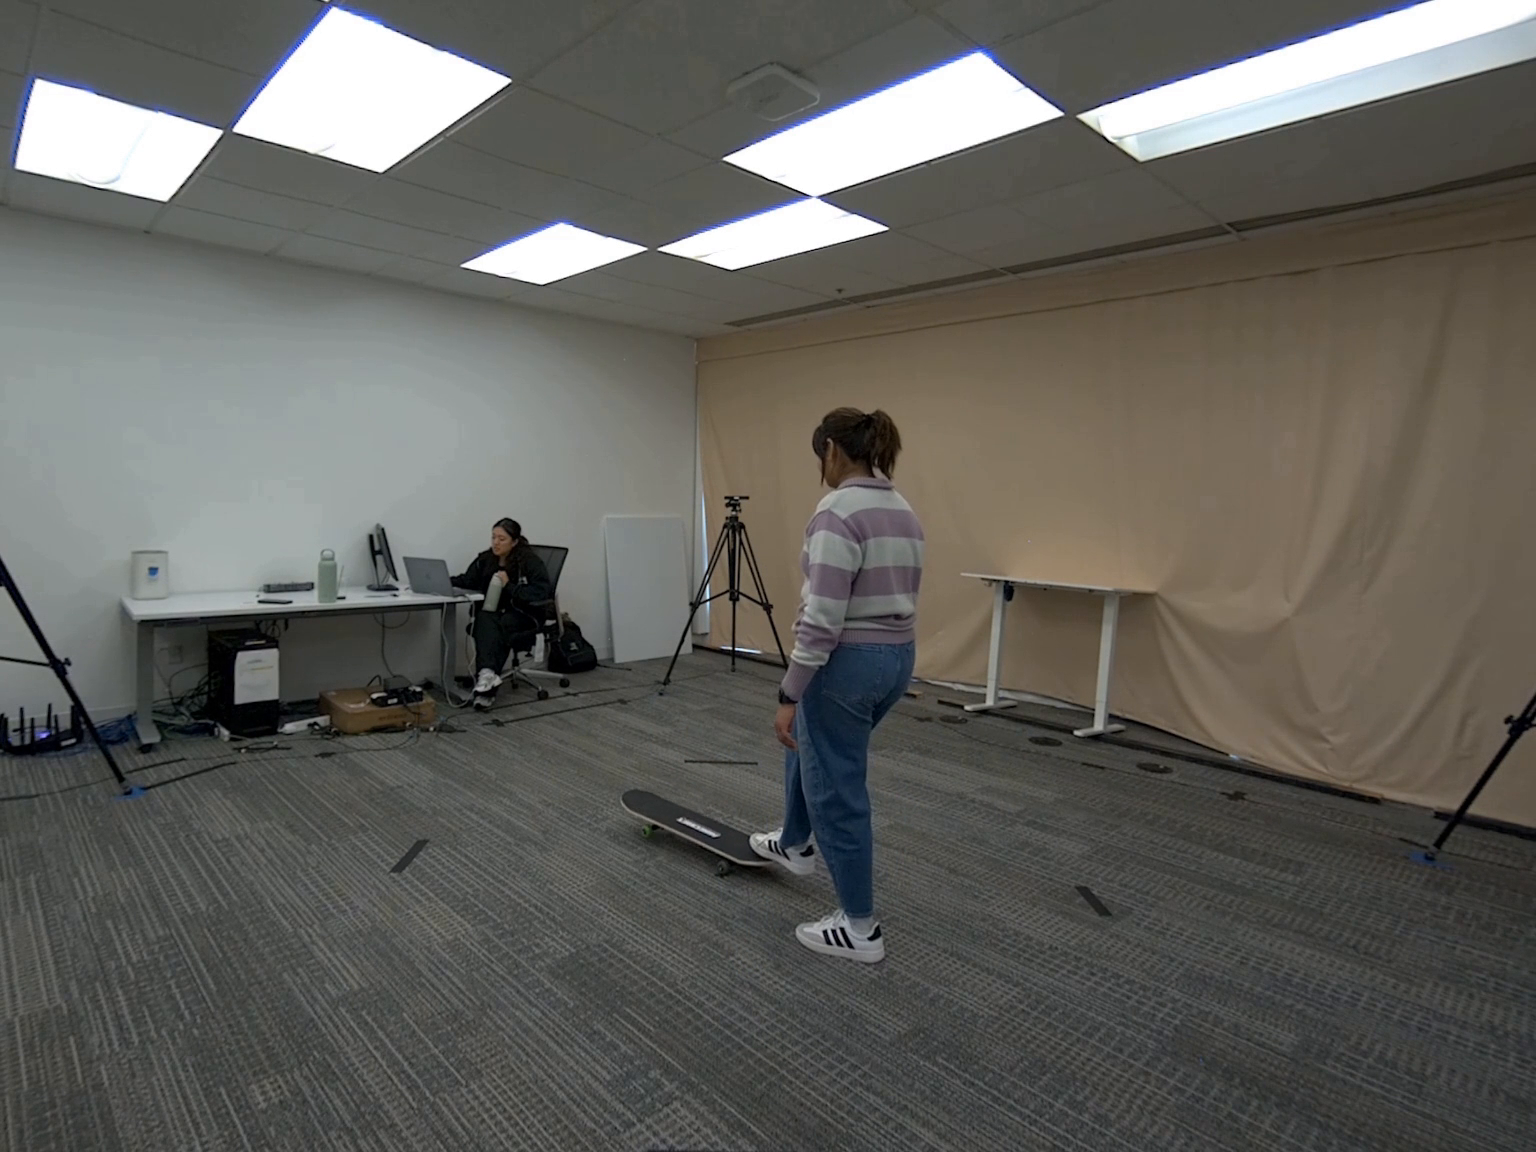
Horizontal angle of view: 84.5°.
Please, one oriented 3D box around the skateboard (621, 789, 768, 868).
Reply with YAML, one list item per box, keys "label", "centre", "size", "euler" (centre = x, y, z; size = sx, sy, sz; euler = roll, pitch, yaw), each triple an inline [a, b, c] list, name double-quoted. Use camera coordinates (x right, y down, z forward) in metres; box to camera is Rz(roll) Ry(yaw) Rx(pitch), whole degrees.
- label: "skateboard"
  centre: [-0.288, 1.018, 3.292]
  size: [0.806, 0.110, 0.189]
  euler: [11, 8, 37]
